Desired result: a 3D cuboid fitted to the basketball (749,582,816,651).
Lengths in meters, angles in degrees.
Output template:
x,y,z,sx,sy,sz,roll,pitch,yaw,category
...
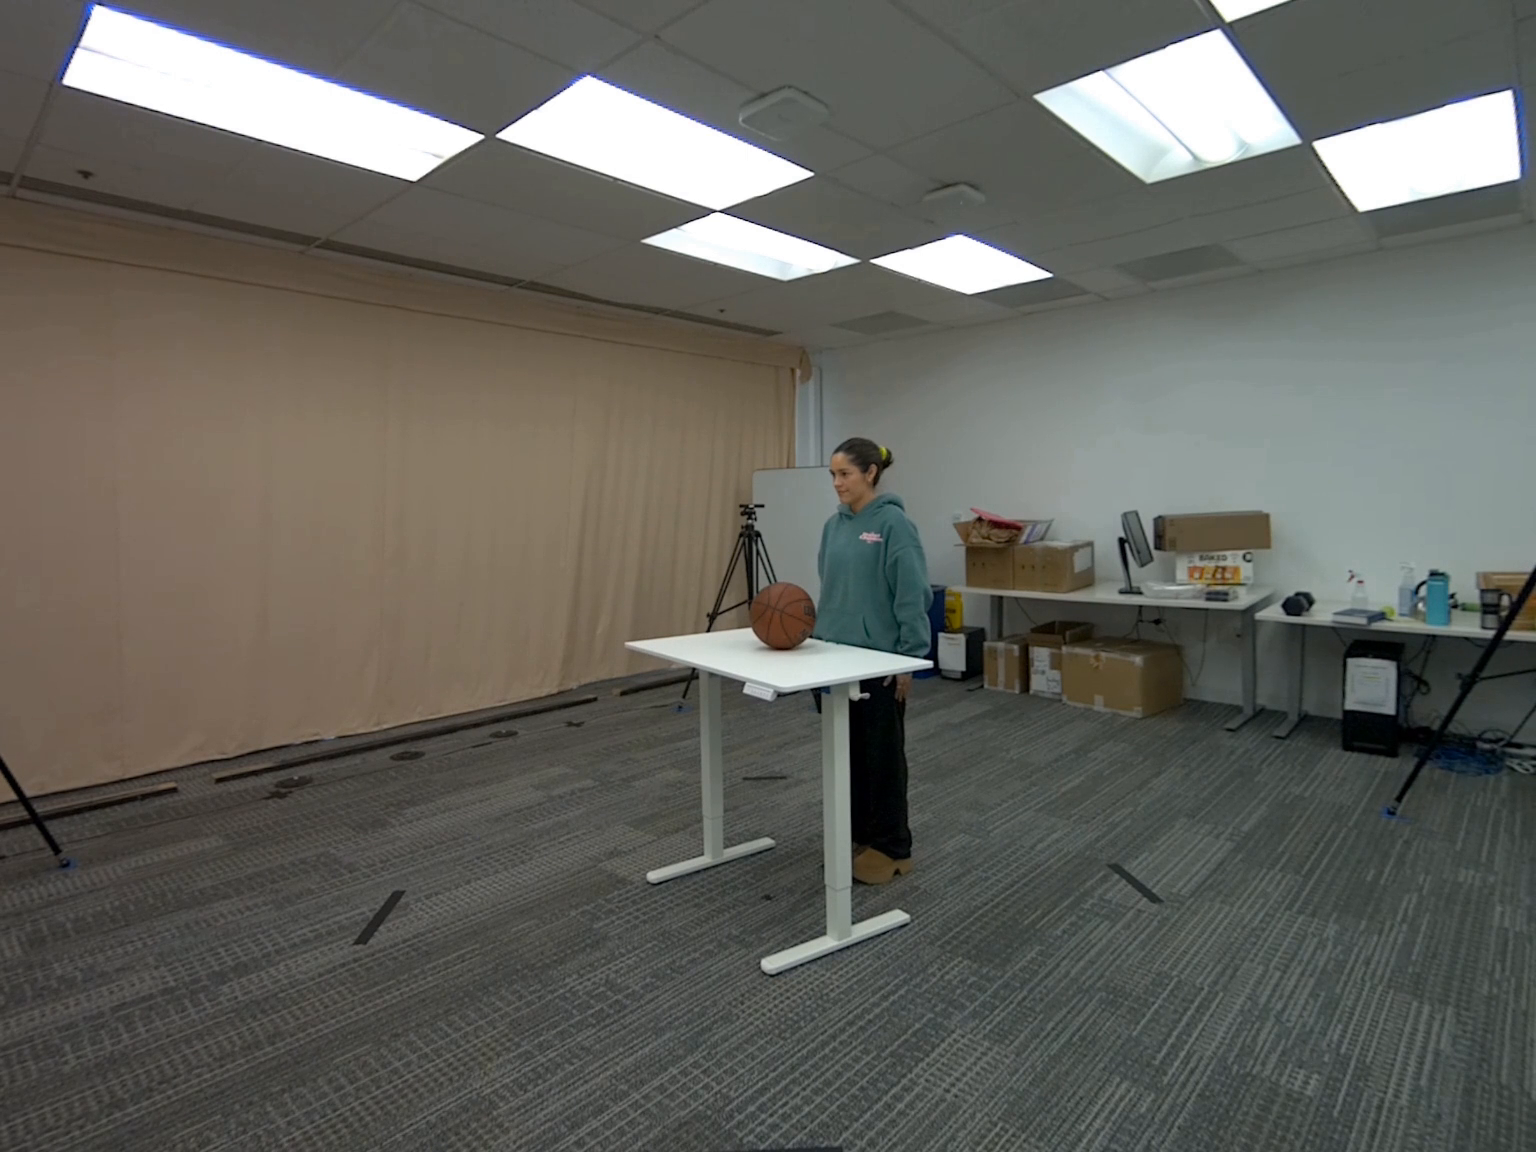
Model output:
x,y,z,sx,sy,sz,roll,pitch,yaw,category
0.053,0.141,2.981,0.236,0.235,0.237,-1,4,-2,basketball
